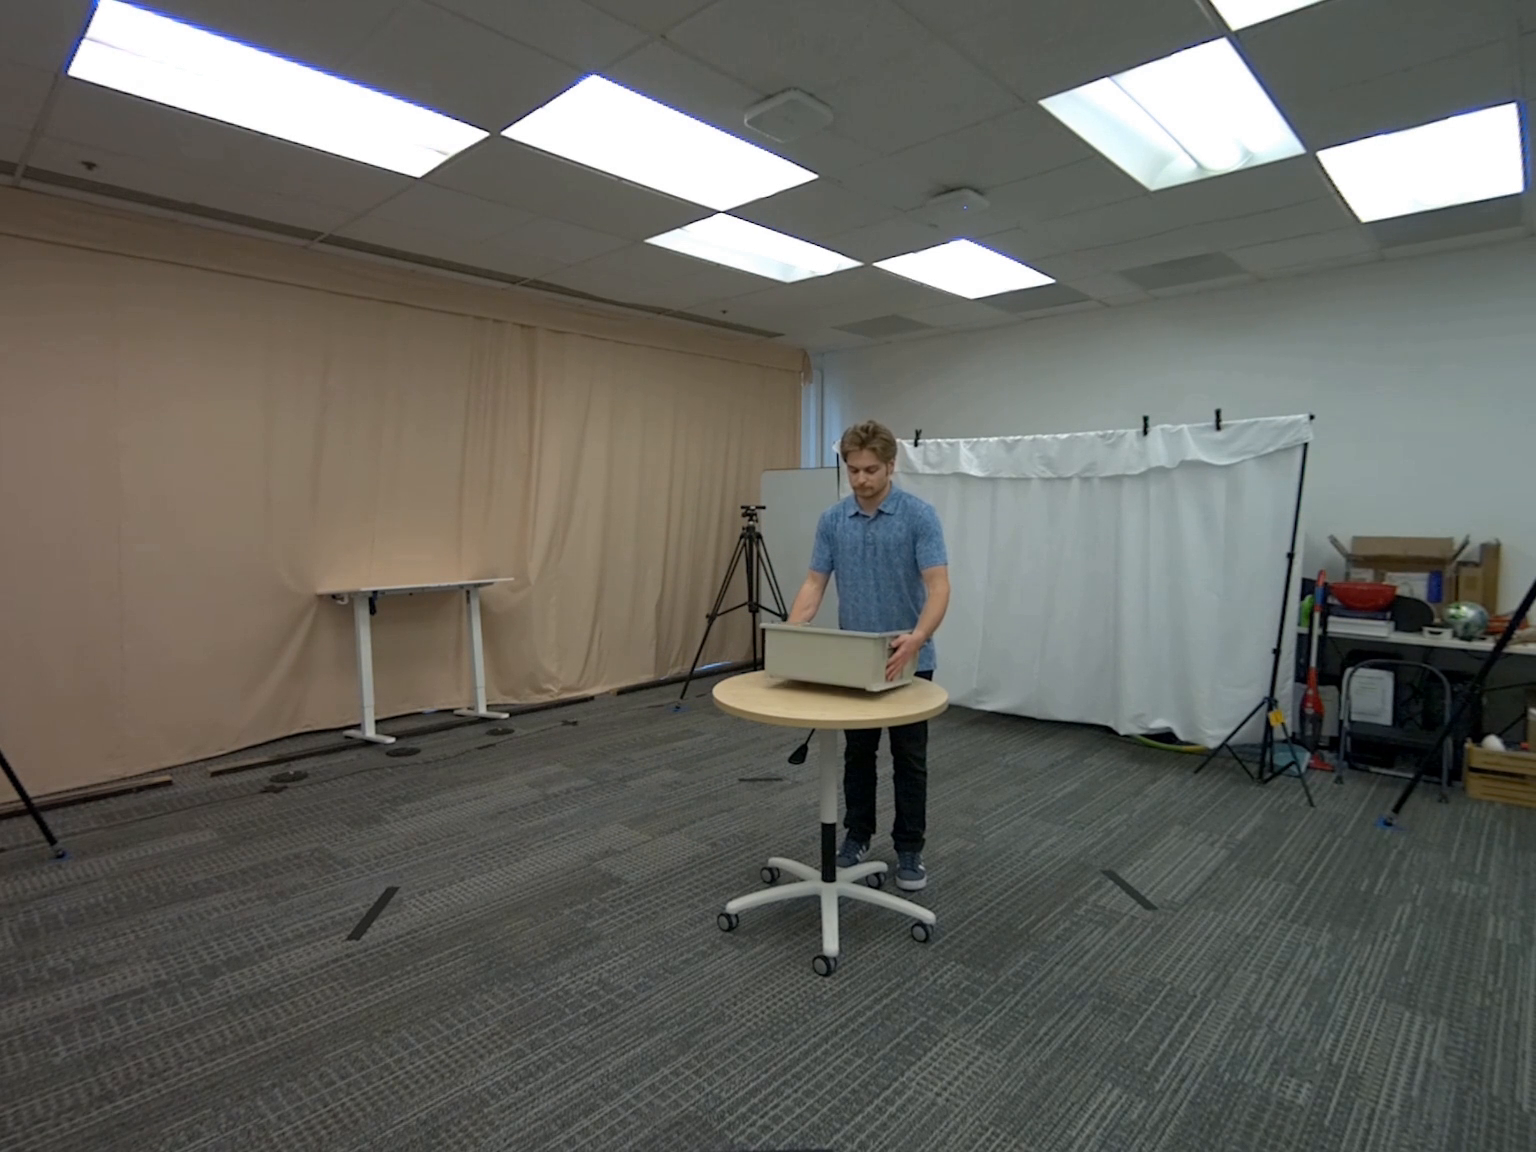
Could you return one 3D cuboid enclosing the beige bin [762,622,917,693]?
[{"bbox_3d":[0.248,0.257,2.846,0.435,0.189,0.366,3,2,32],"label":"beige bin"}]
